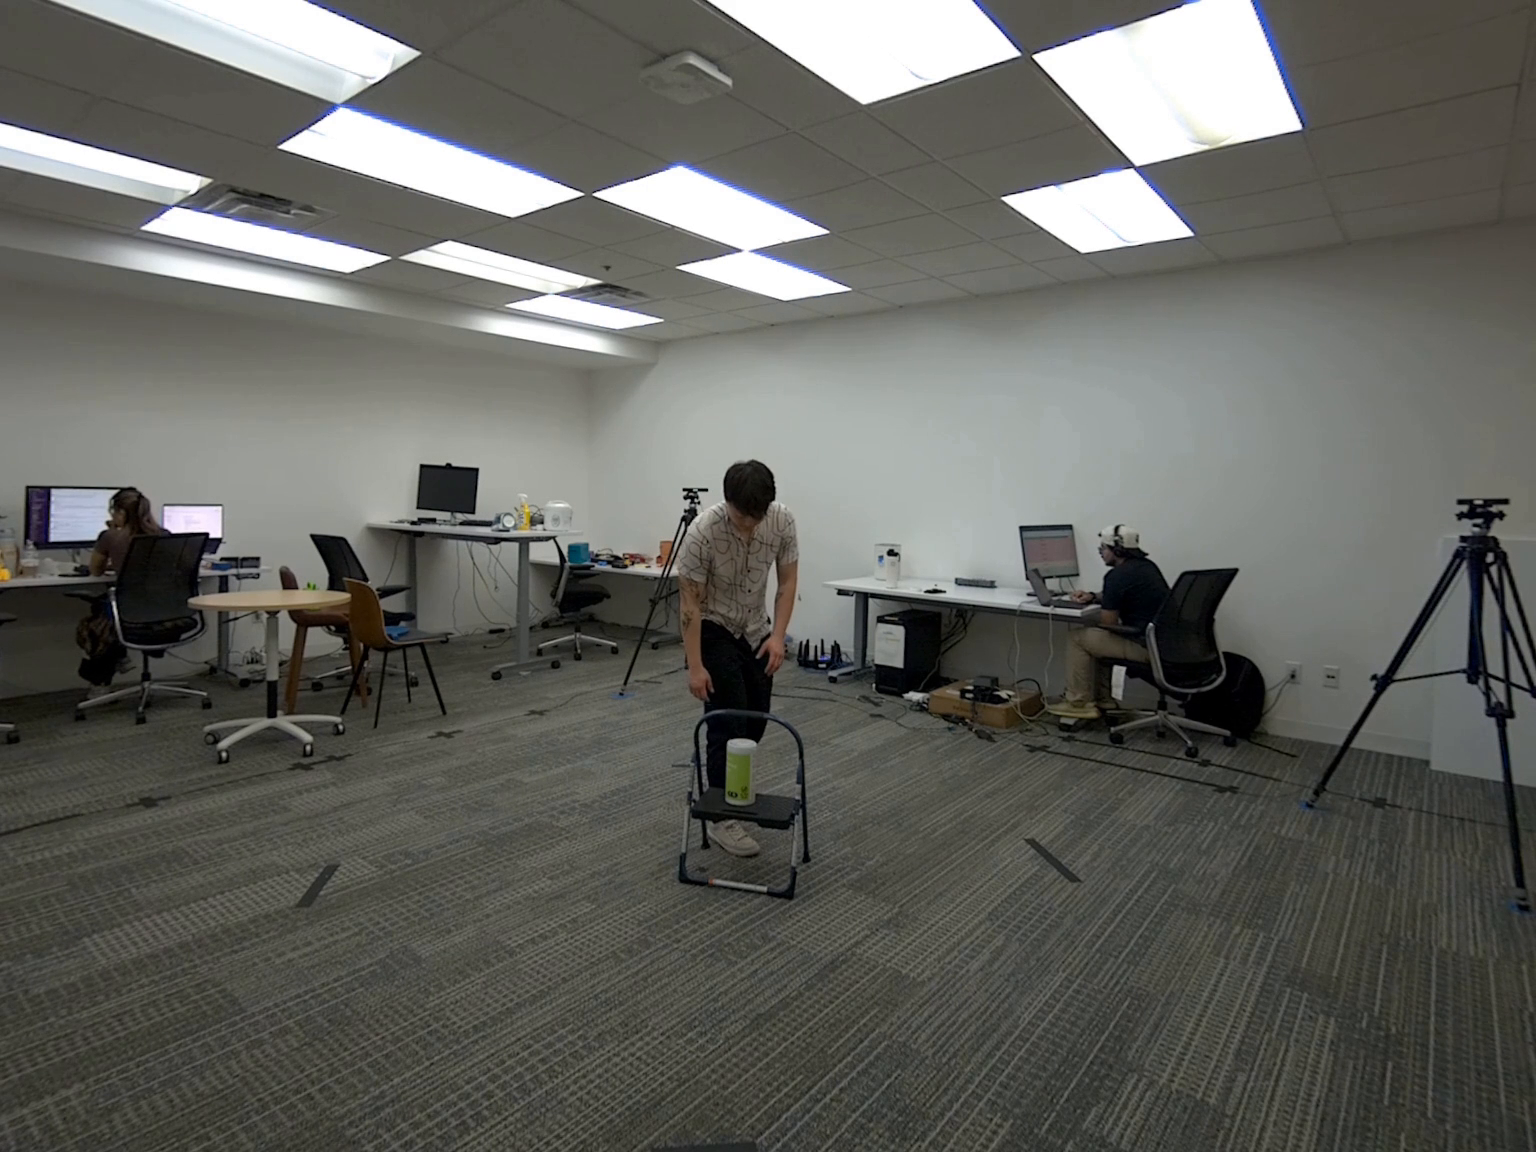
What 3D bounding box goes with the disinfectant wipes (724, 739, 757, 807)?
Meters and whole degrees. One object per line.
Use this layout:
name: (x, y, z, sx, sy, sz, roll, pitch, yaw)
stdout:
disinfectant wipes: (-0.100, 0.711, 3.076, 0.117, 0.217, 0.118, 2, 3, -2)
